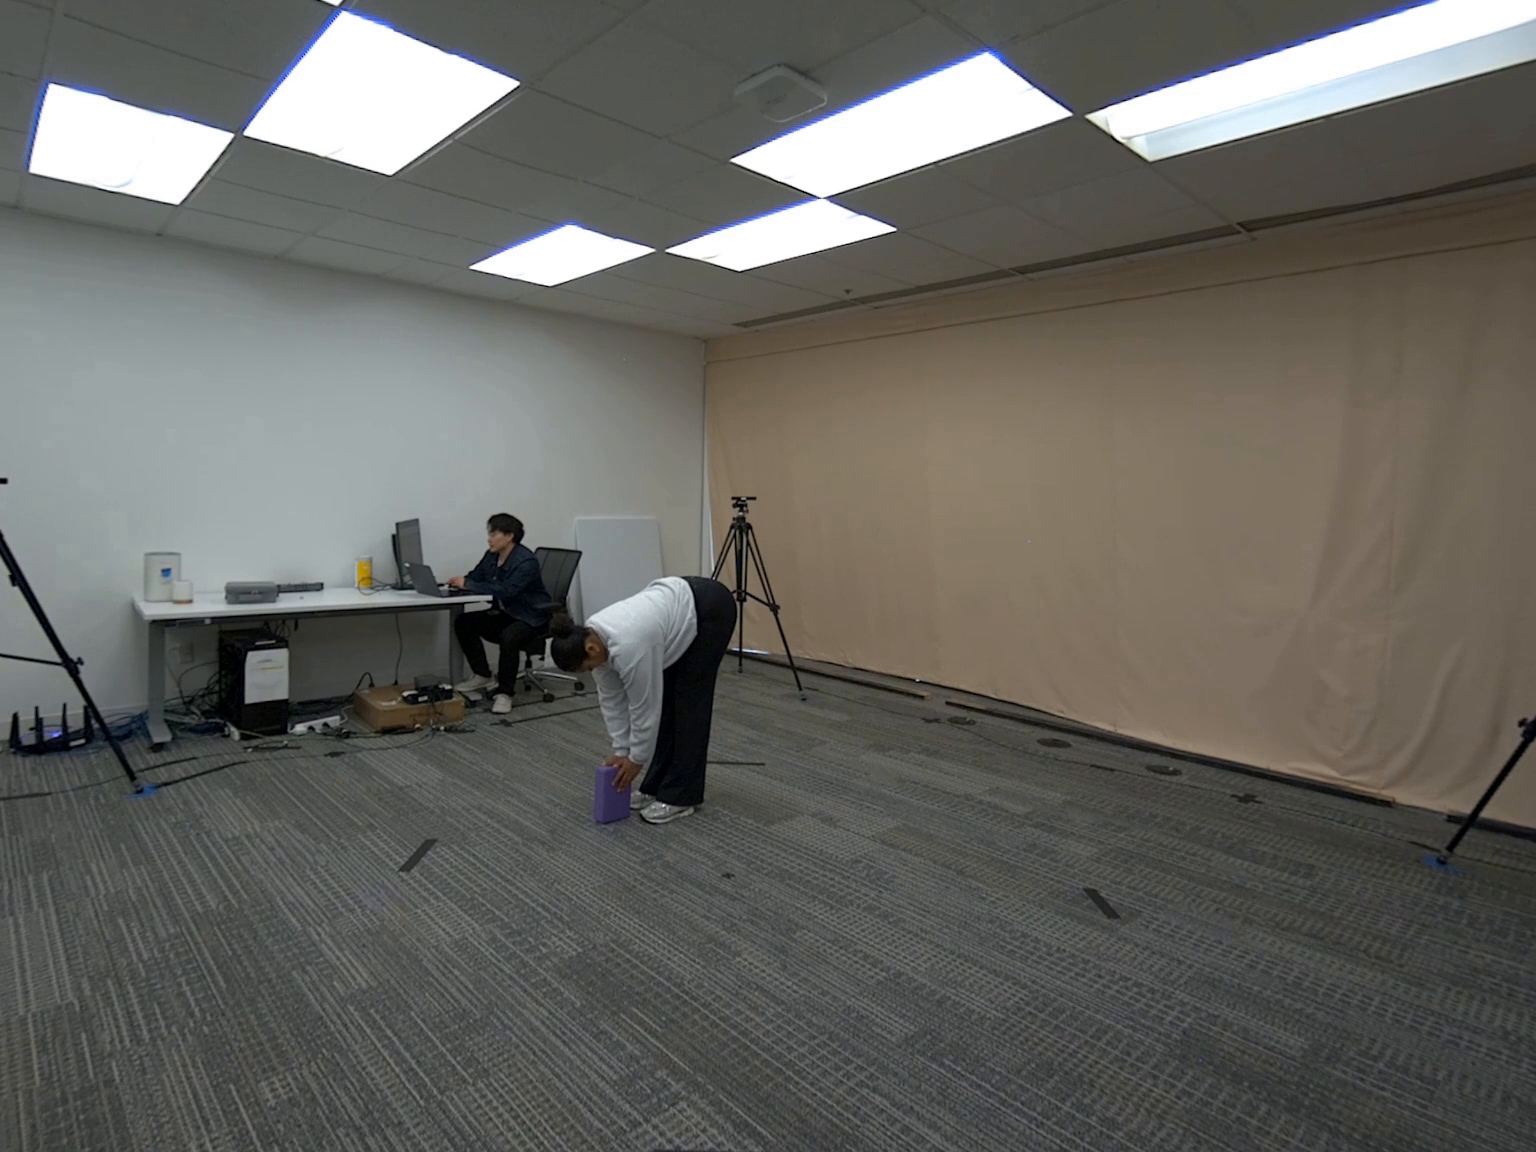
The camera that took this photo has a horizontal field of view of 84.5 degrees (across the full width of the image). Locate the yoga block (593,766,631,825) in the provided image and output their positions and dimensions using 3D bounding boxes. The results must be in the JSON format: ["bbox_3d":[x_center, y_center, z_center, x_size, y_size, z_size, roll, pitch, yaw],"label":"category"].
[{"bbox_3d":[-0.677,0.929,3.621,0.078,0.229,0.145,2,2,45],"label":"yoga block"}]
